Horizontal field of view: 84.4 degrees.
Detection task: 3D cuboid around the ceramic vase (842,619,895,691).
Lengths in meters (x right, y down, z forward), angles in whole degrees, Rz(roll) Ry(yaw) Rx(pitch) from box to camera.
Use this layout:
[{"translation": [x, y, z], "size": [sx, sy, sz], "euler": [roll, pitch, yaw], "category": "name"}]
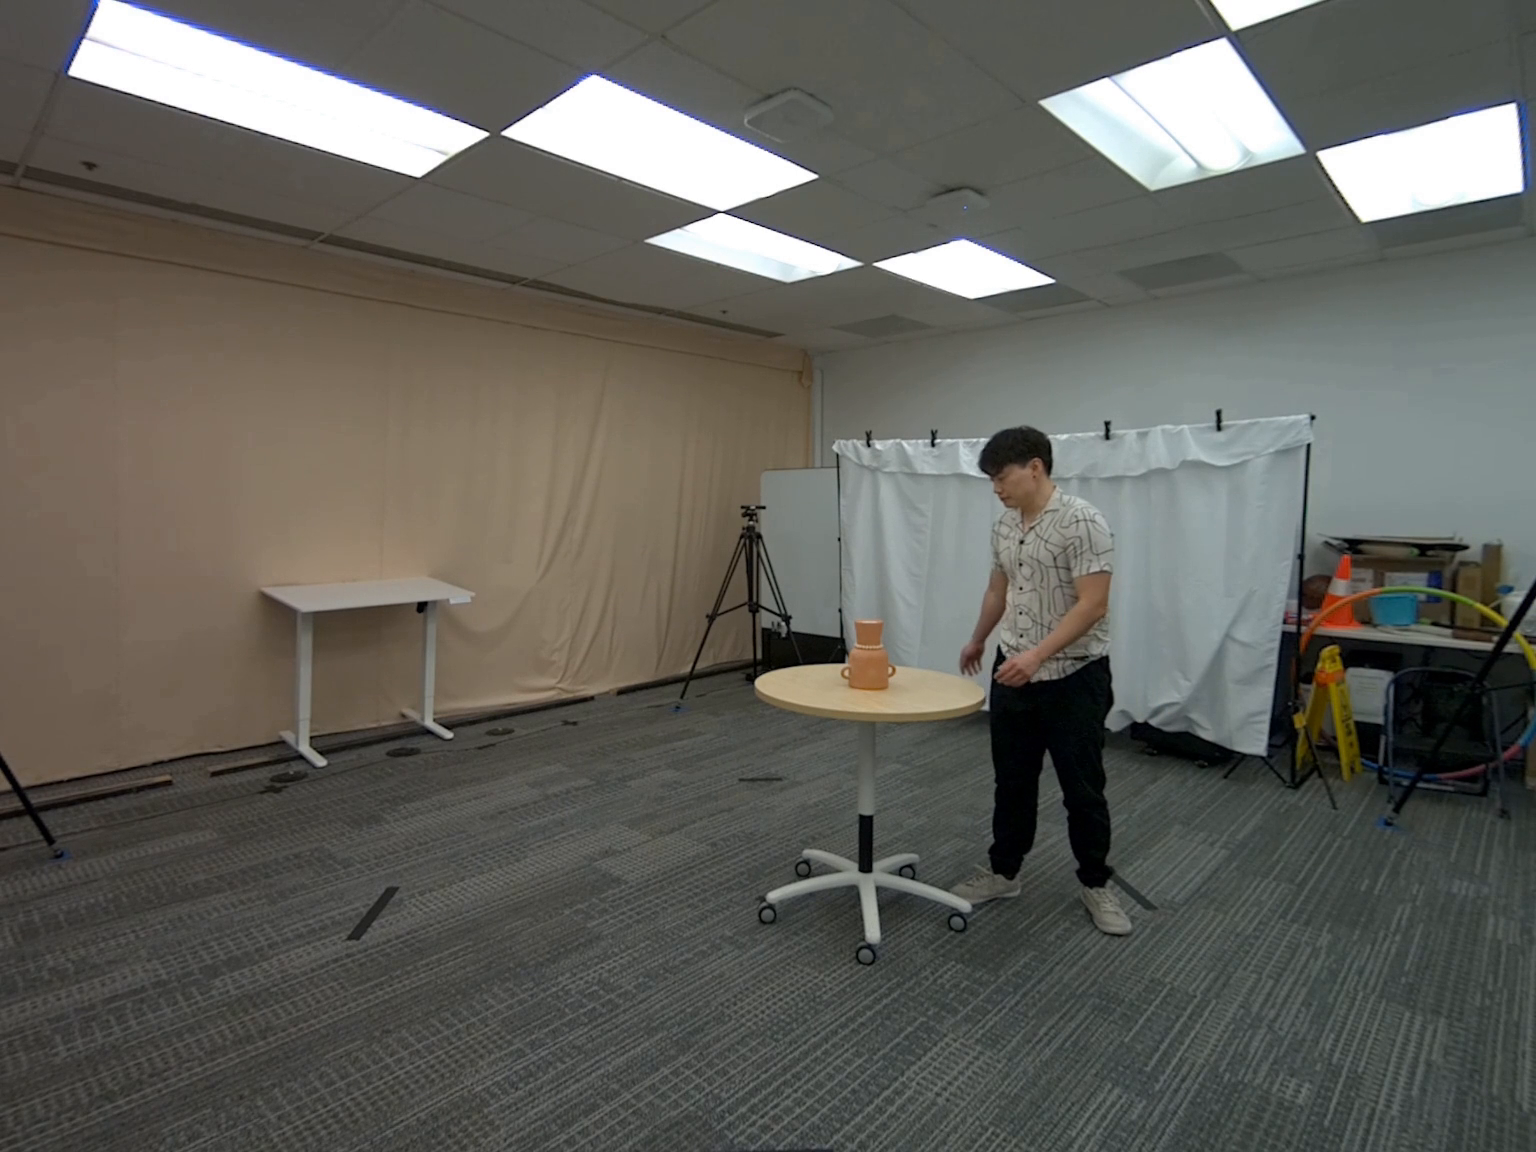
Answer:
[{"translation": [0.355, 0.267, 2.833], "size": [0.139, 0.219, 0.154], "euler": [4, 4, 34], "category": "ceramic vase"}]
